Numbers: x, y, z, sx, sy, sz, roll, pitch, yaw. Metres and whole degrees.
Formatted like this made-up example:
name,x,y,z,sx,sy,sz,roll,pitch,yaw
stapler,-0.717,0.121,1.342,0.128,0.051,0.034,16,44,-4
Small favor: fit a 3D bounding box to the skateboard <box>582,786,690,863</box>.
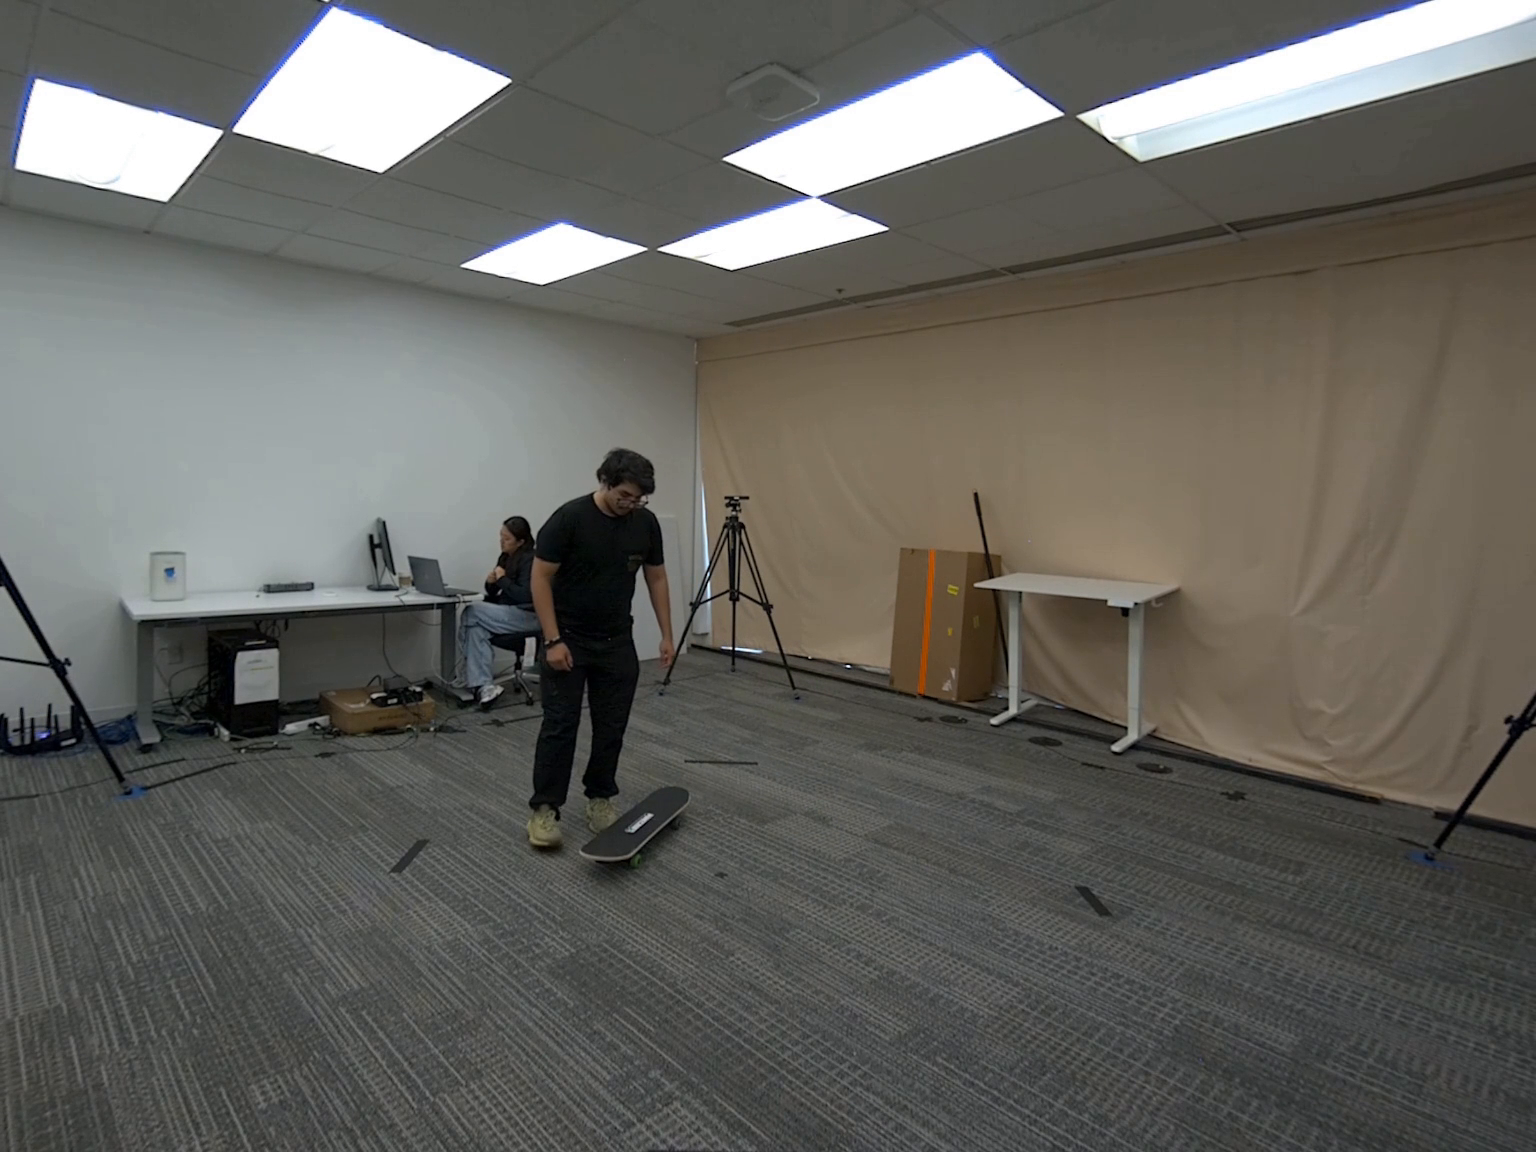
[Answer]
name,x,y,z,sx,sy,sz,roll,pitch,yaw
skateboard,-0.518,1.012,3.357,0.196,0.110,0.777,3,5,16
